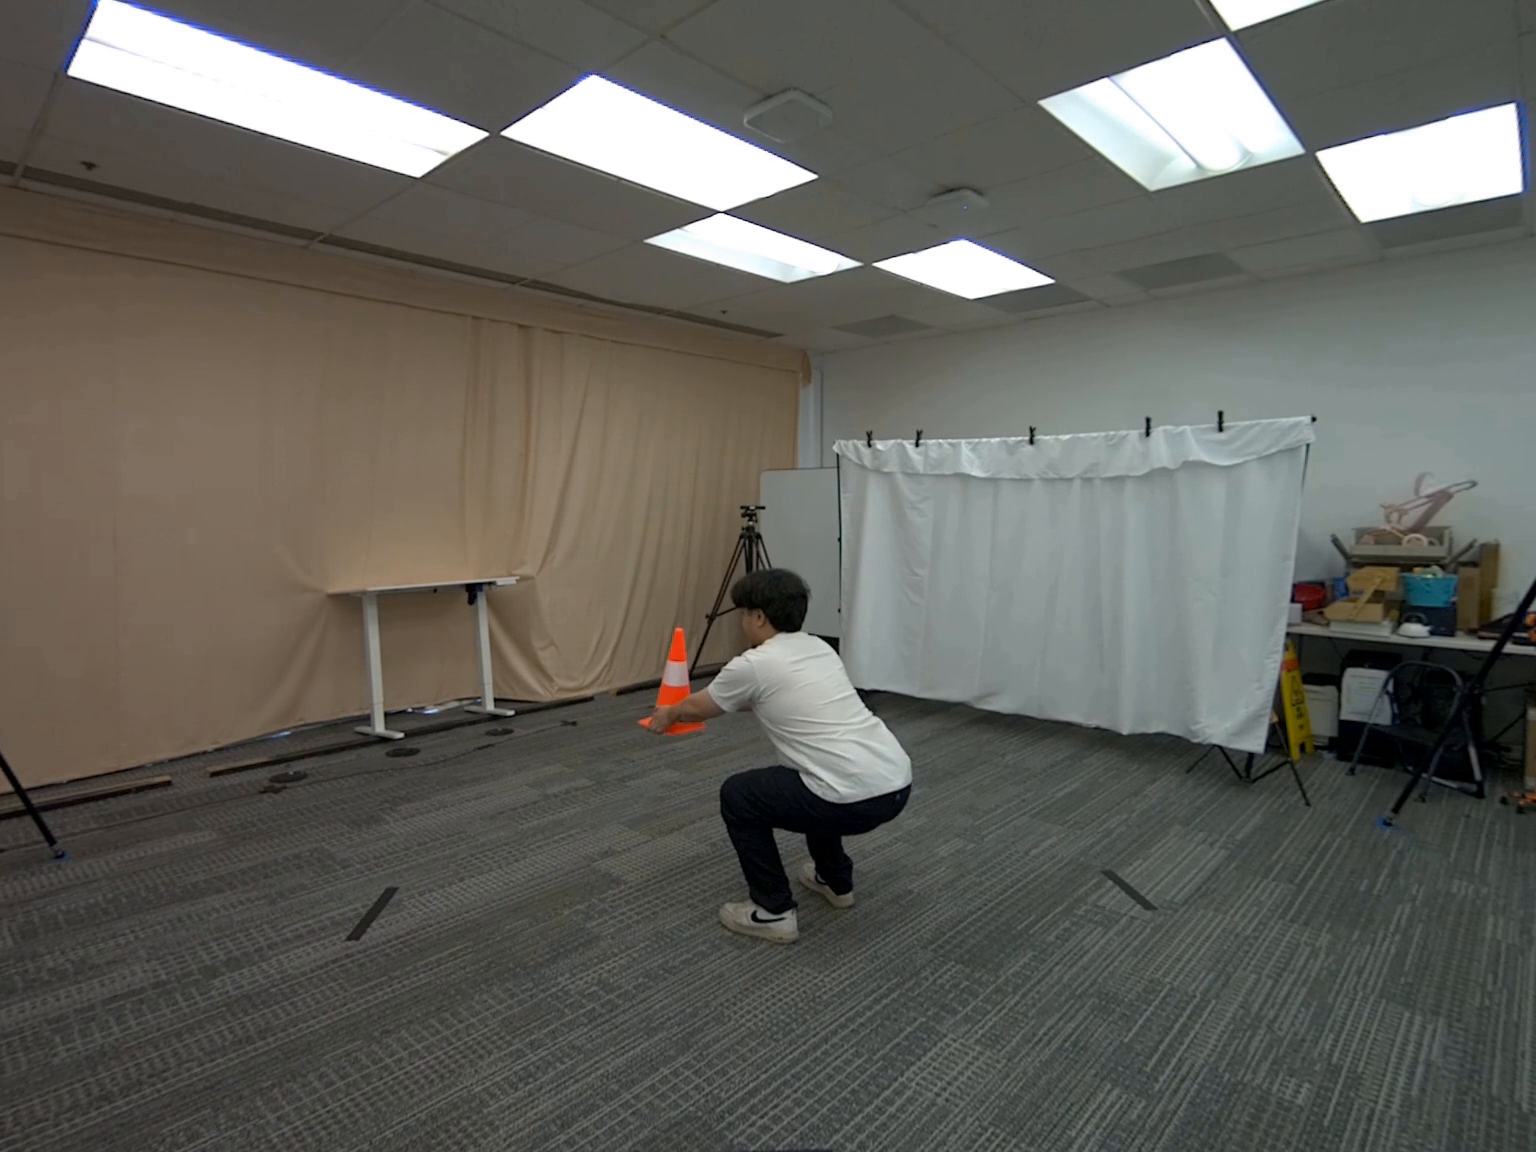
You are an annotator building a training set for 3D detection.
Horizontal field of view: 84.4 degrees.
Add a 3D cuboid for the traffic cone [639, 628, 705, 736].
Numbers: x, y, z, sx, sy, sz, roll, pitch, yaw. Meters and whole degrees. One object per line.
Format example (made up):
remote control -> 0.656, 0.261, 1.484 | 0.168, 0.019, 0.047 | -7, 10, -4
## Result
traffic cone -> -0.359, 0.389, 3.252 | 0.210, 0.382, 0.199 | 7, 8, 34
